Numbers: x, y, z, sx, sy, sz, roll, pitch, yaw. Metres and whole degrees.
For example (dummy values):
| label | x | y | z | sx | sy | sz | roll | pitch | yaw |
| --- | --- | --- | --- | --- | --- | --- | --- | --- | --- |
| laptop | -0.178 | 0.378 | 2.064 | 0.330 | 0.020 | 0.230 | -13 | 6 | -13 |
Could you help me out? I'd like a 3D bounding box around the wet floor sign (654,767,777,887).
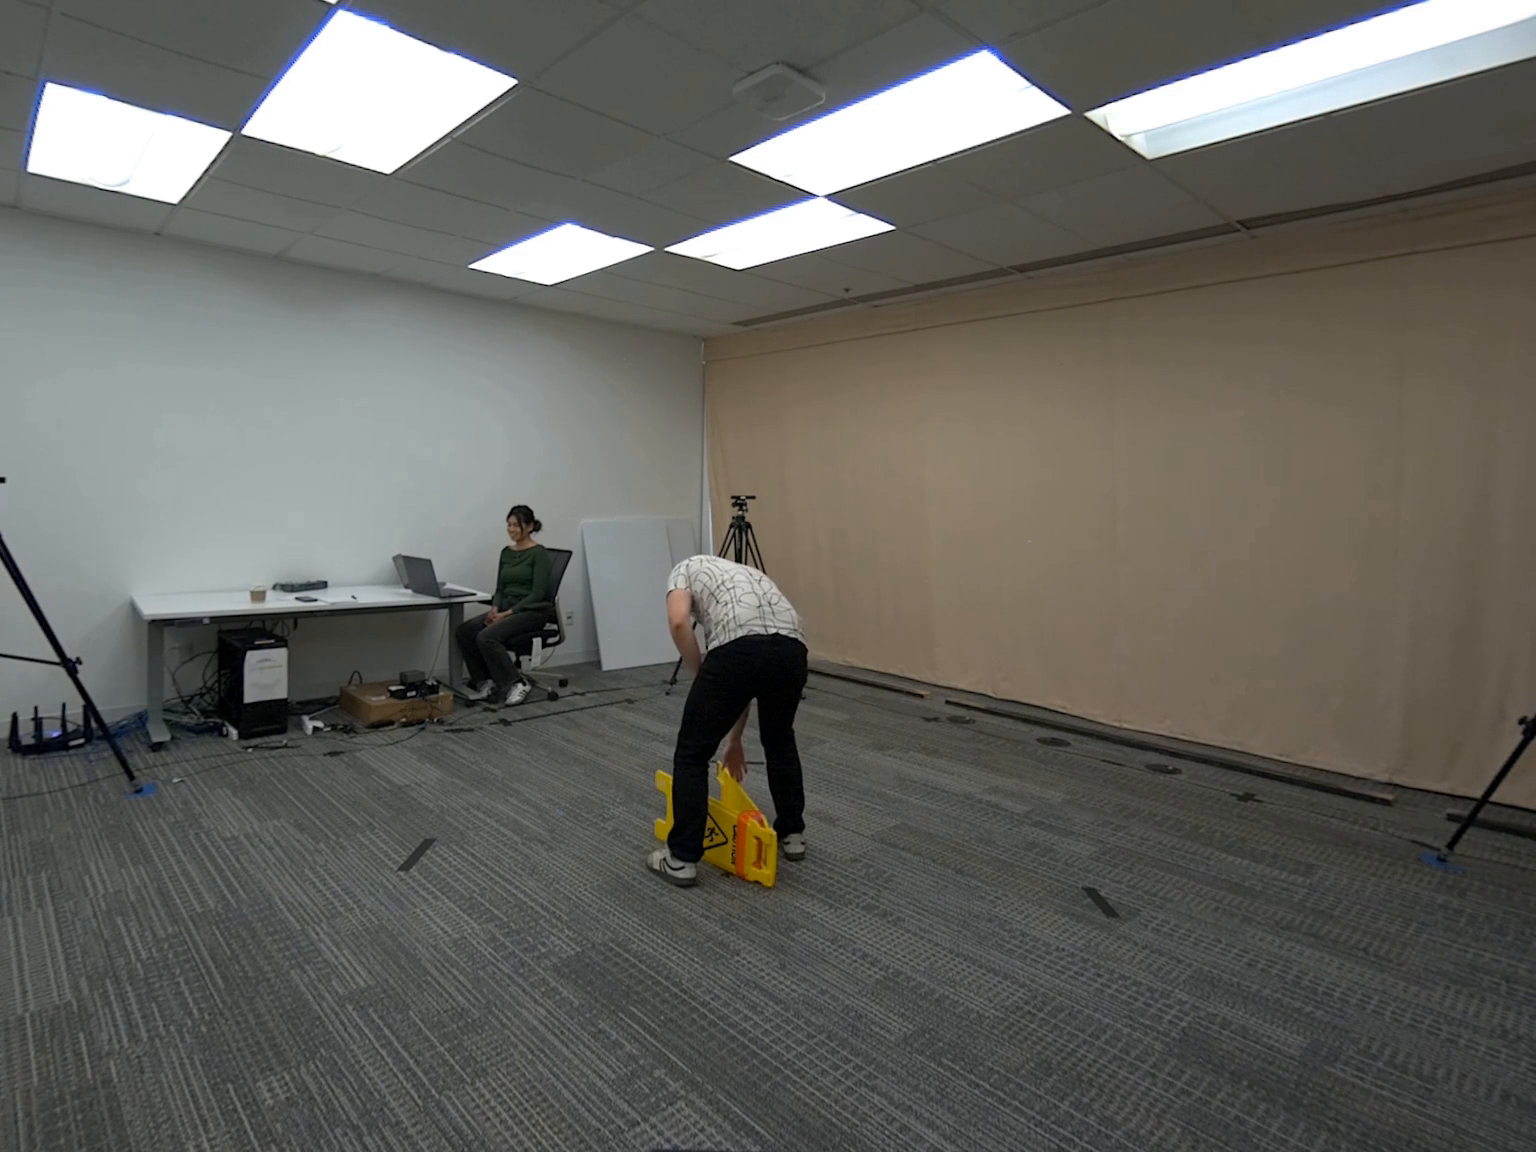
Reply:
| label | x | y | z | sx | sy | sz | roll | pitch | yaw |
| --- | --- | --- | --- | --- | --- | --- | --- | --- | --- |
| wet floor sign | -0.166 | 0.959 | 3.230 | 0.284 | 0.281 | 0.662 | -2 | 8 | -33 |
